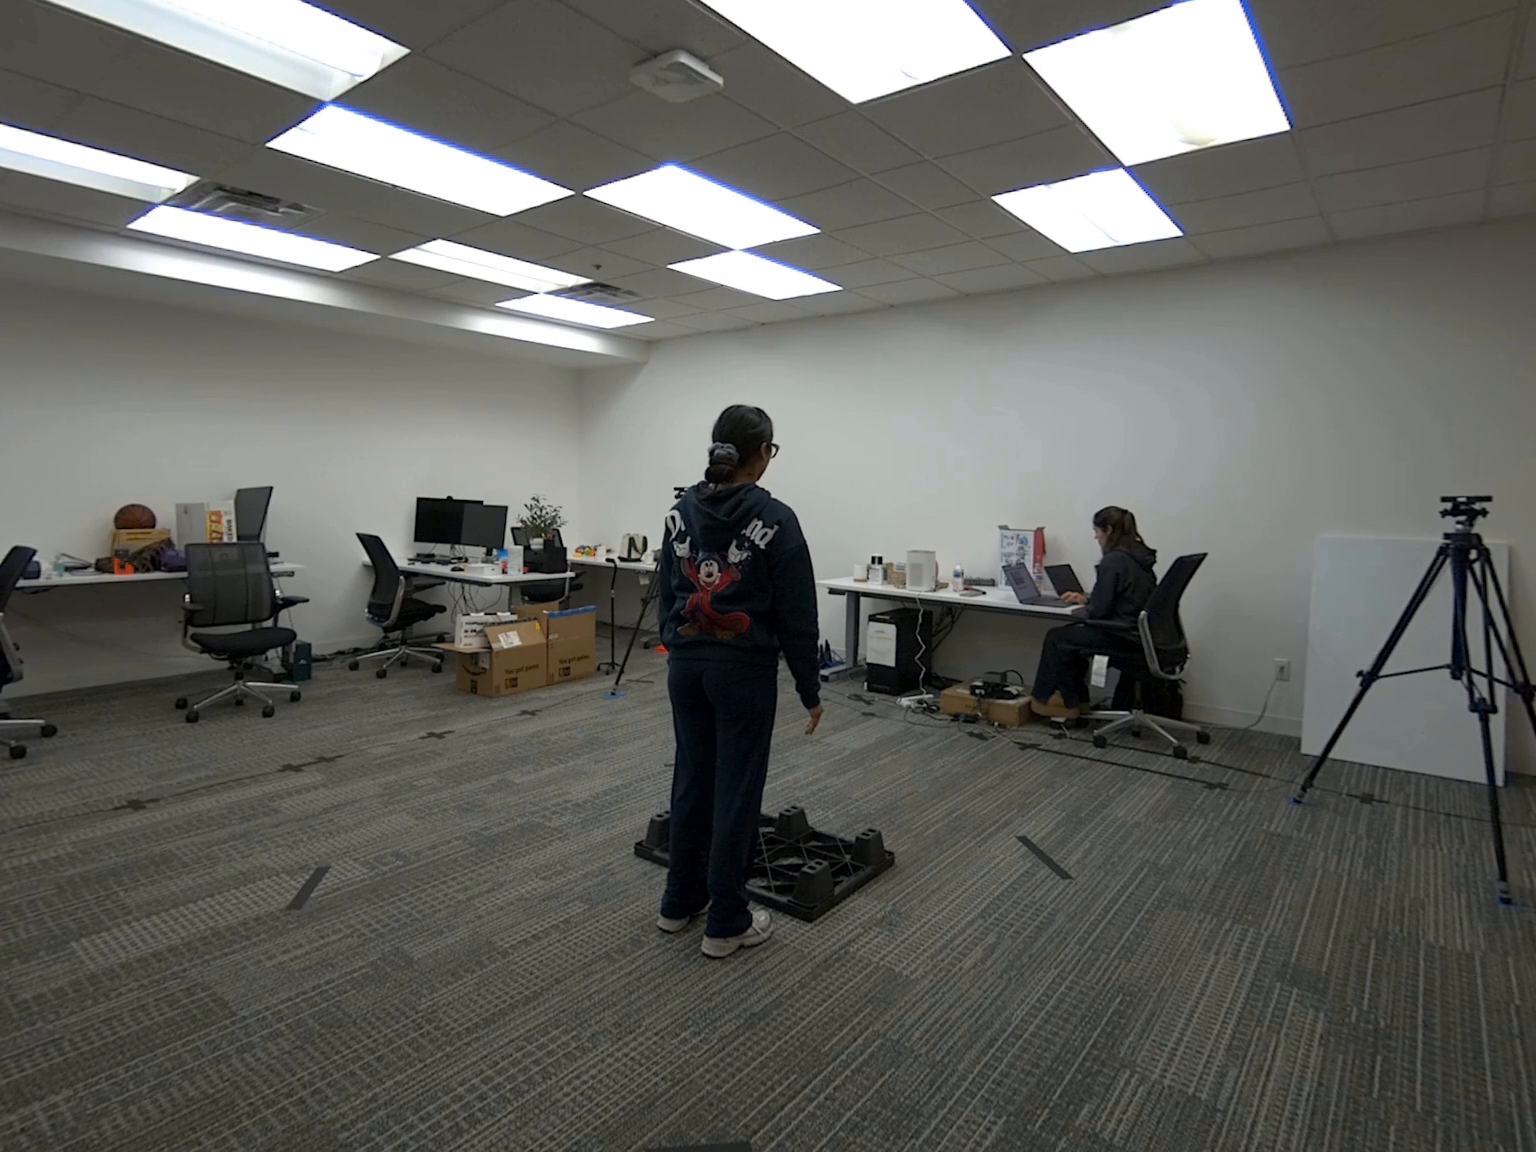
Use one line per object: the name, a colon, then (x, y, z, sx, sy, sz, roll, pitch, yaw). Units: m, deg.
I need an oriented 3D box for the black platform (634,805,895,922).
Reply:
black platform: (-0.020, 0.995, 3.201, 0.832, 0.143, 0.588, 5, 7, 36)
